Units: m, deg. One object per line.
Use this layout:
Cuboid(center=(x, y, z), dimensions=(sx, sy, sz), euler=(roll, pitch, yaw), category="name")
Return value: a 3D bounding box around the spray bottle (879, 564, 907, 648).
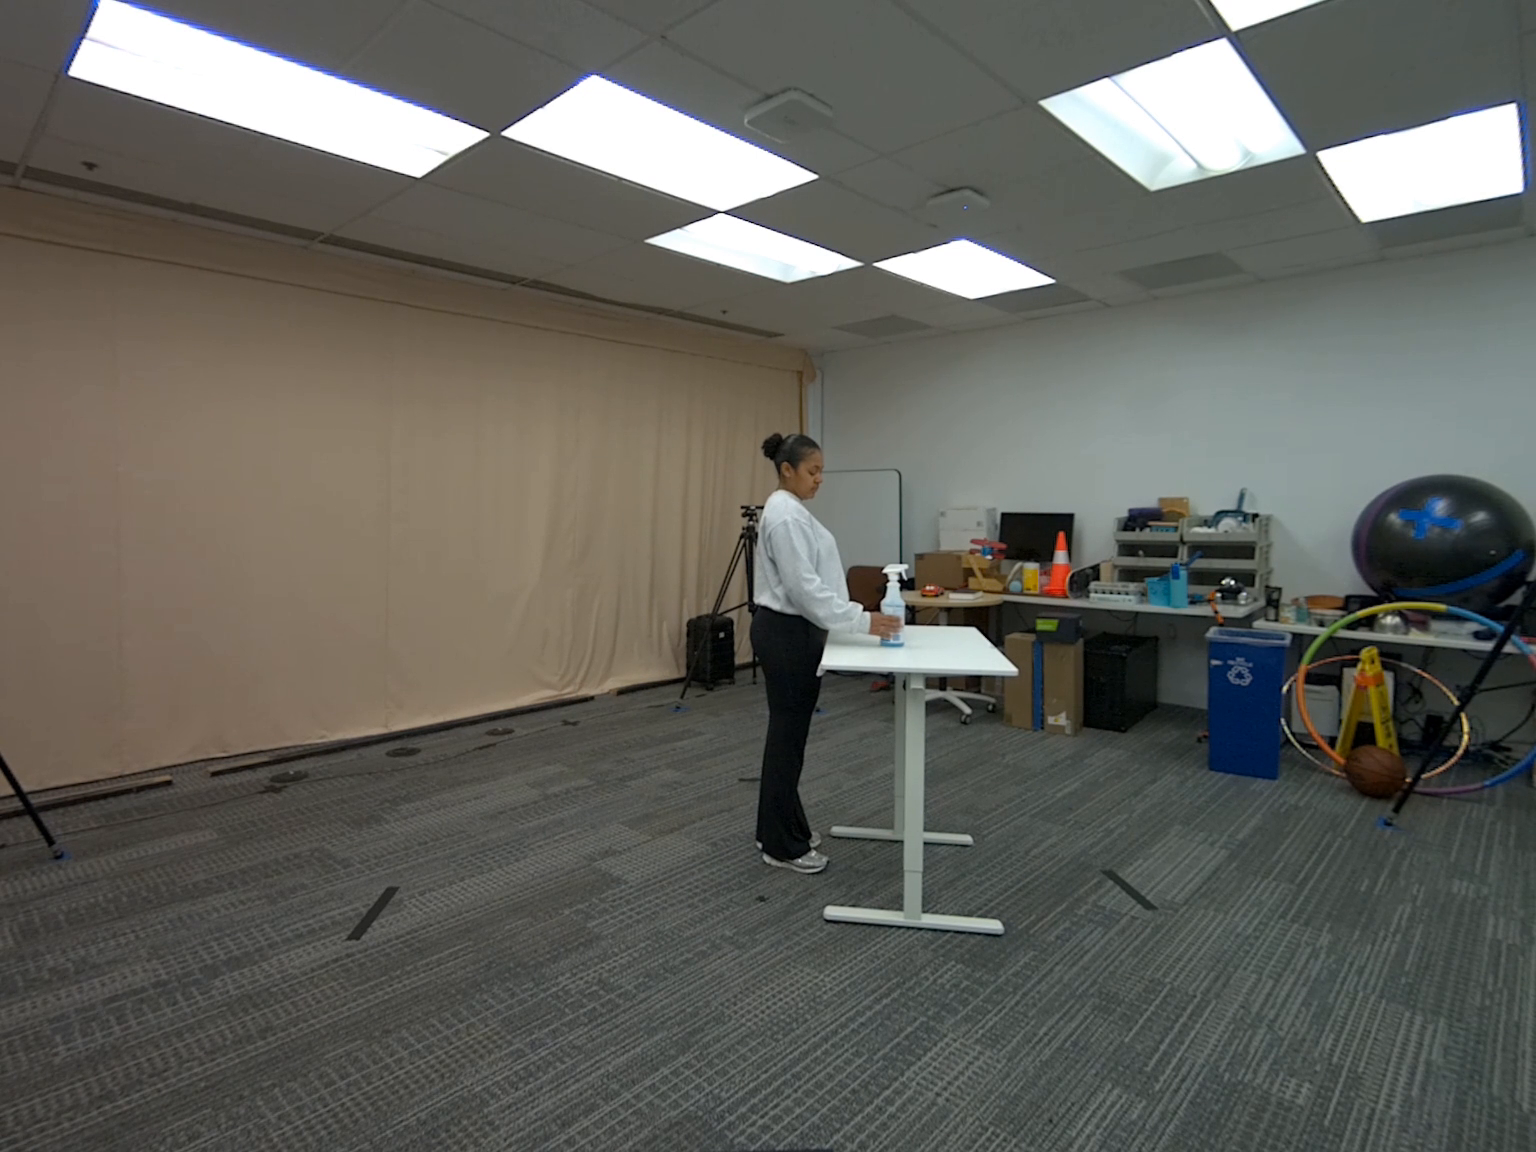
Cuboid(center=(0.457, 0.110, 3.048), dimensions=(0.084, 0.296, 0.093), euler=(-5, 8, -36), category="spray bottle")
